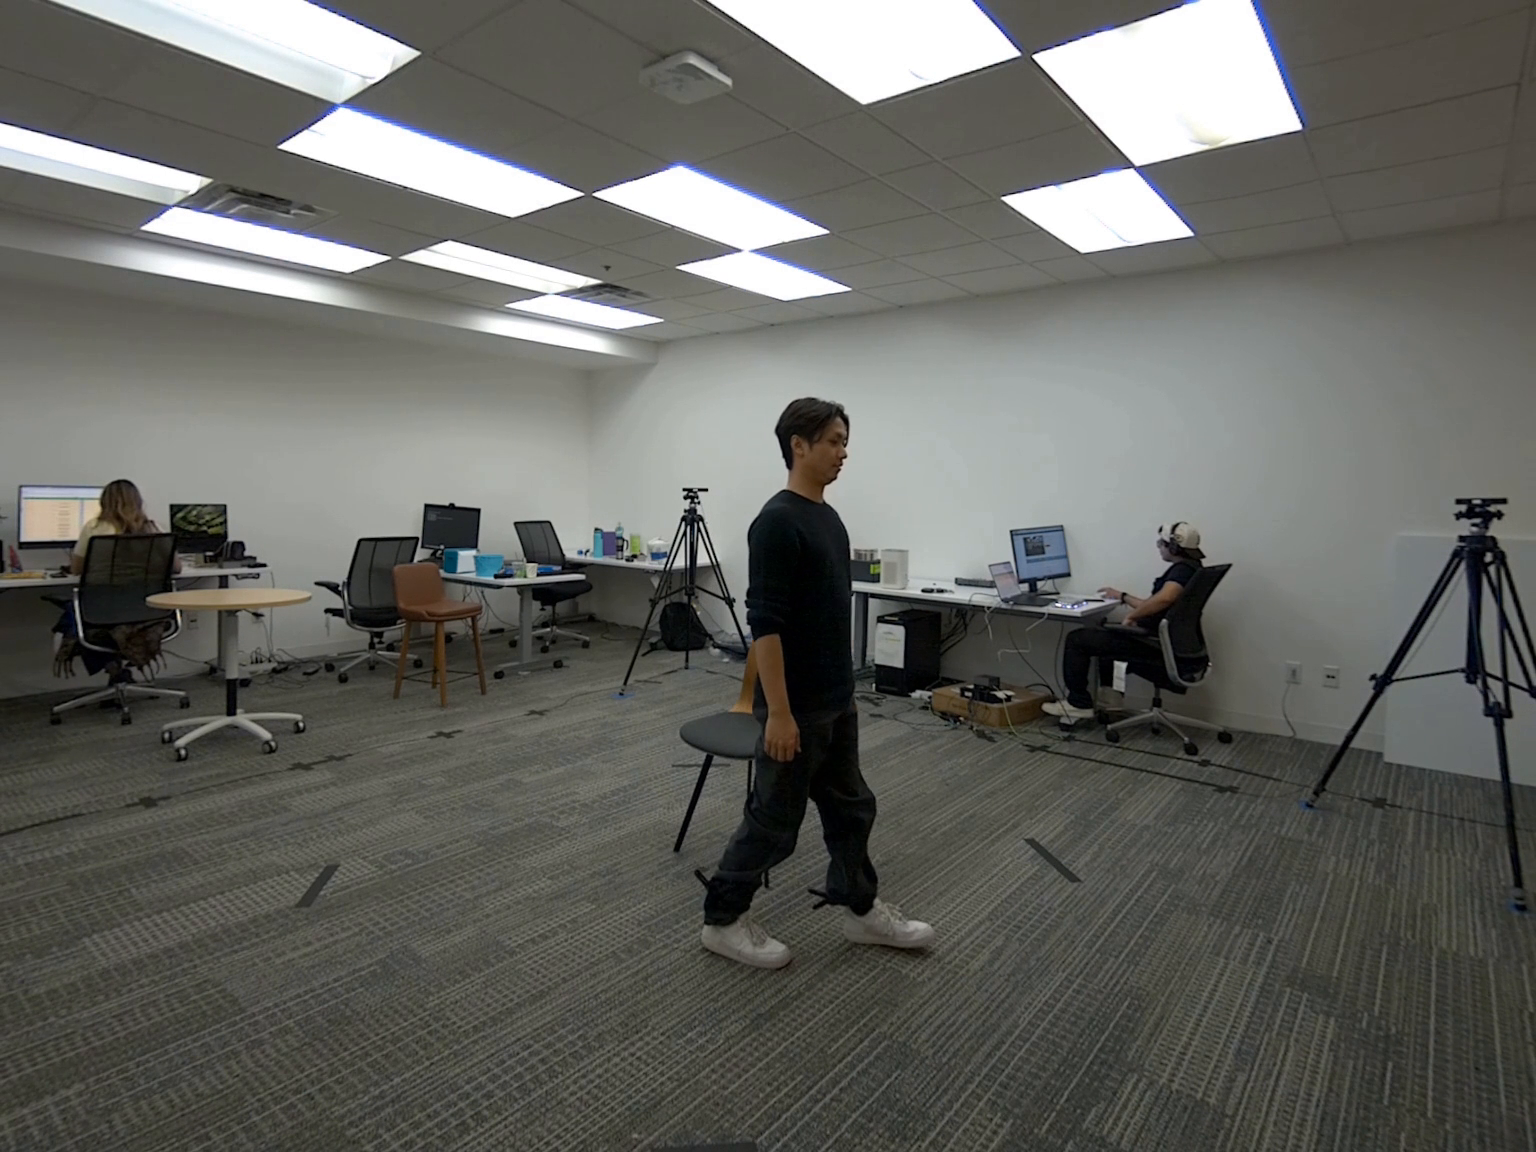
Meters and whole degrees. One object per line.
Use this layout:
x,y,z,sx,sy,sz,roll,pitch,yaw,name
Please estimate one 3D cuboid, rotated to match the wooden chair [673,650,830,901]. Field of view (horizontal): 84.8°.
-0.052,0.632,3.246,0.494,0.878,0.506,4,0,39,wooden chair
